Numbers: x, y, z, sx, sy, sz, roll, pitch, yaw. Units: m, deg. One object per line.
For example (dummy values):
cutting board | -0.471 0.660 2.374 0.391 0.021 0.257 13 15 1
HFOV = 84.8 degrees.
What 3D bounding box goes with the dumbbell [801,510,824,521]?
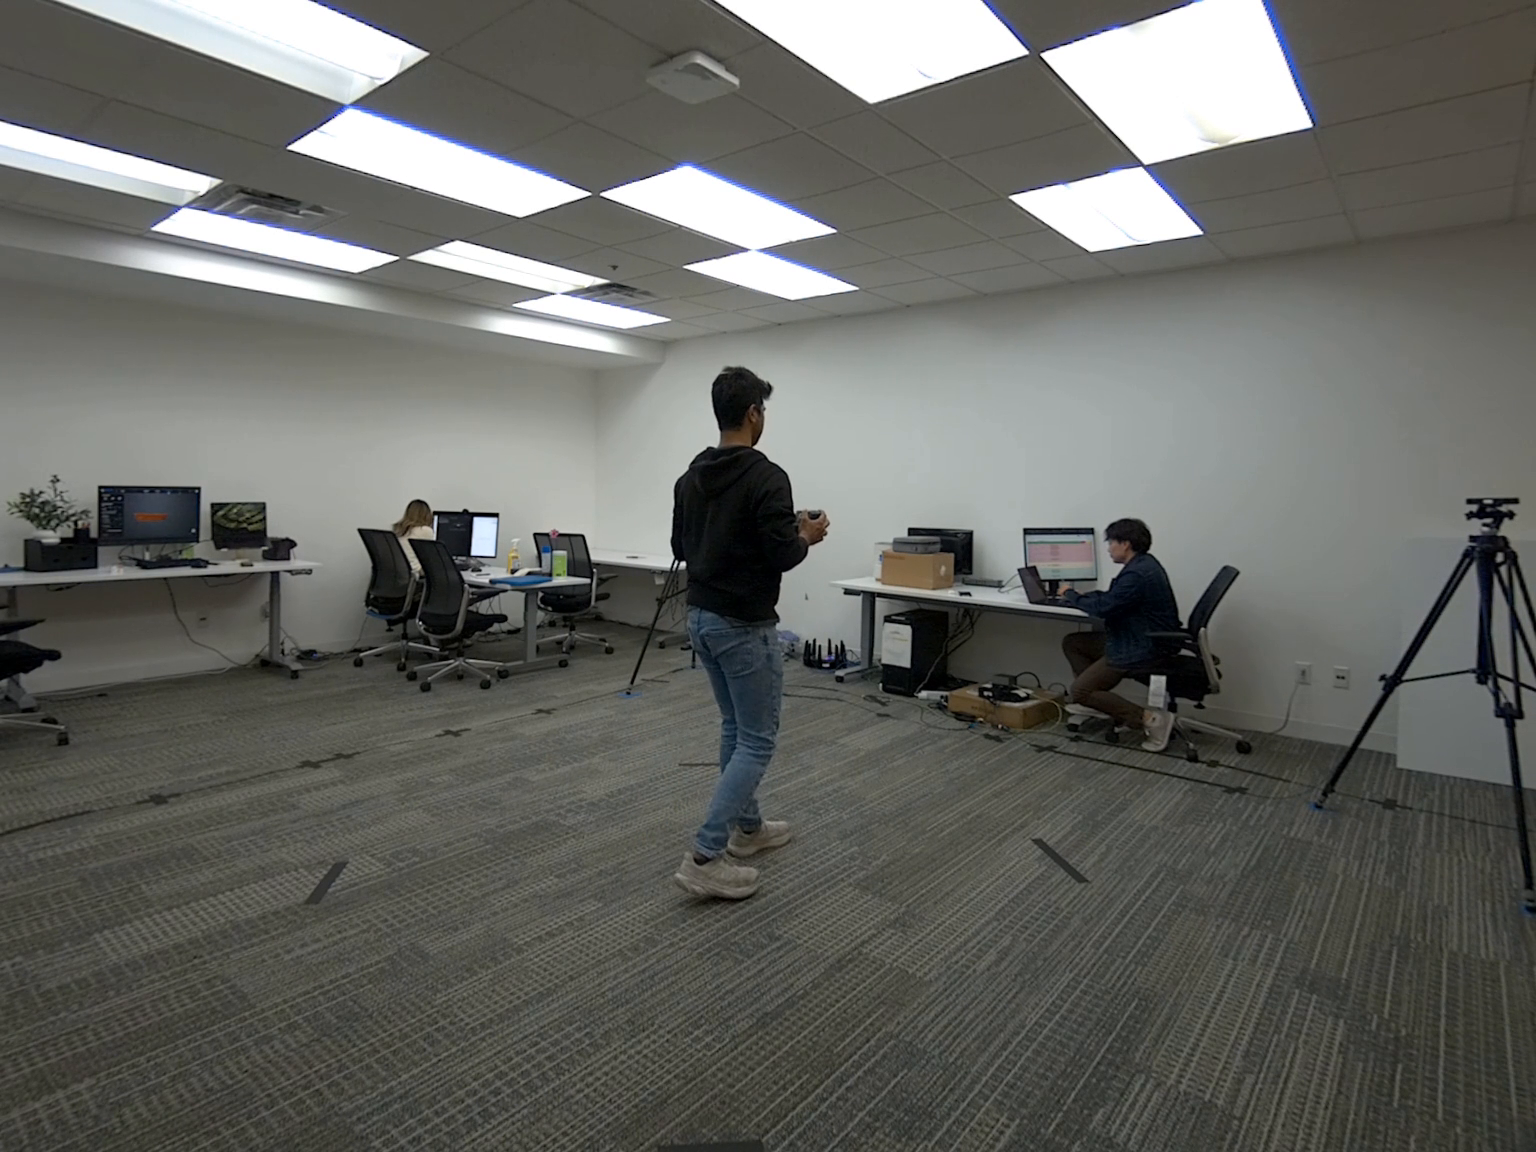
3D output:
dumbbell | 0.058 -0.190 3.242 0.304 0.124 0.104 8 -23 46
